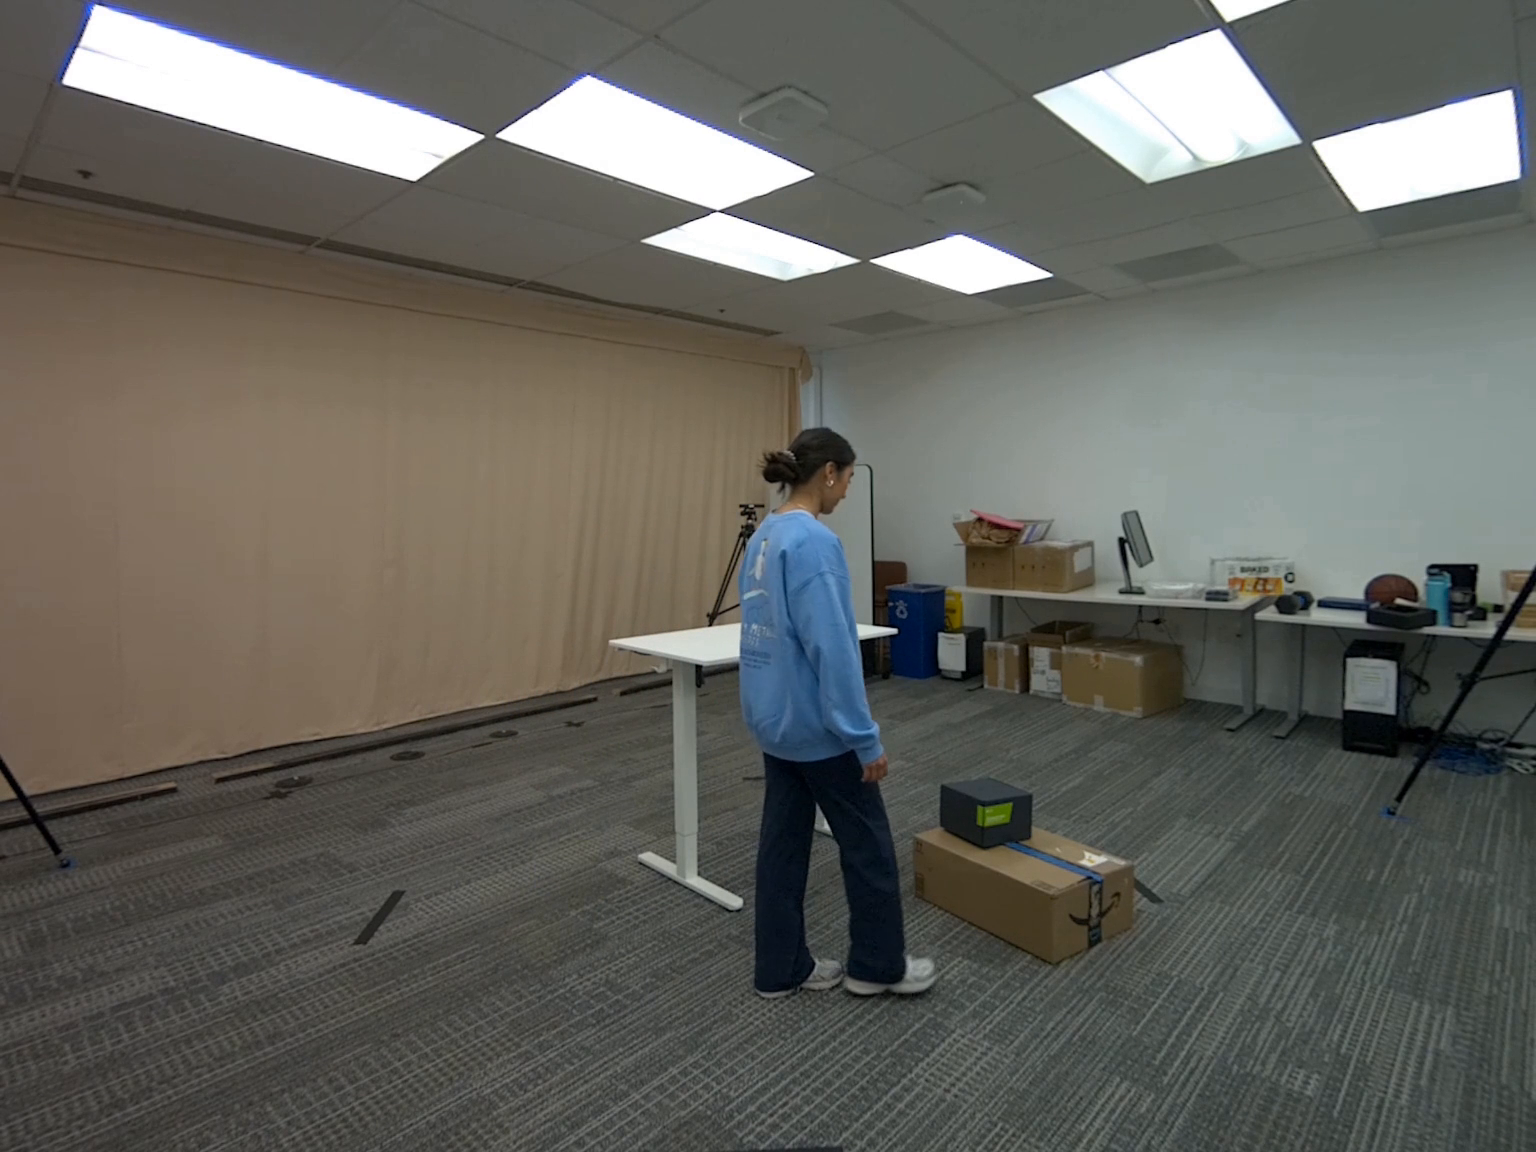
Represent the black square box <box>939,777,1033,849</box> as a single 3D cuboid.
[{"bbox_3d":[0.771,0.822,2.960,0.222,0.156,0.223,0,2,-27],"label":"black square box"}]
